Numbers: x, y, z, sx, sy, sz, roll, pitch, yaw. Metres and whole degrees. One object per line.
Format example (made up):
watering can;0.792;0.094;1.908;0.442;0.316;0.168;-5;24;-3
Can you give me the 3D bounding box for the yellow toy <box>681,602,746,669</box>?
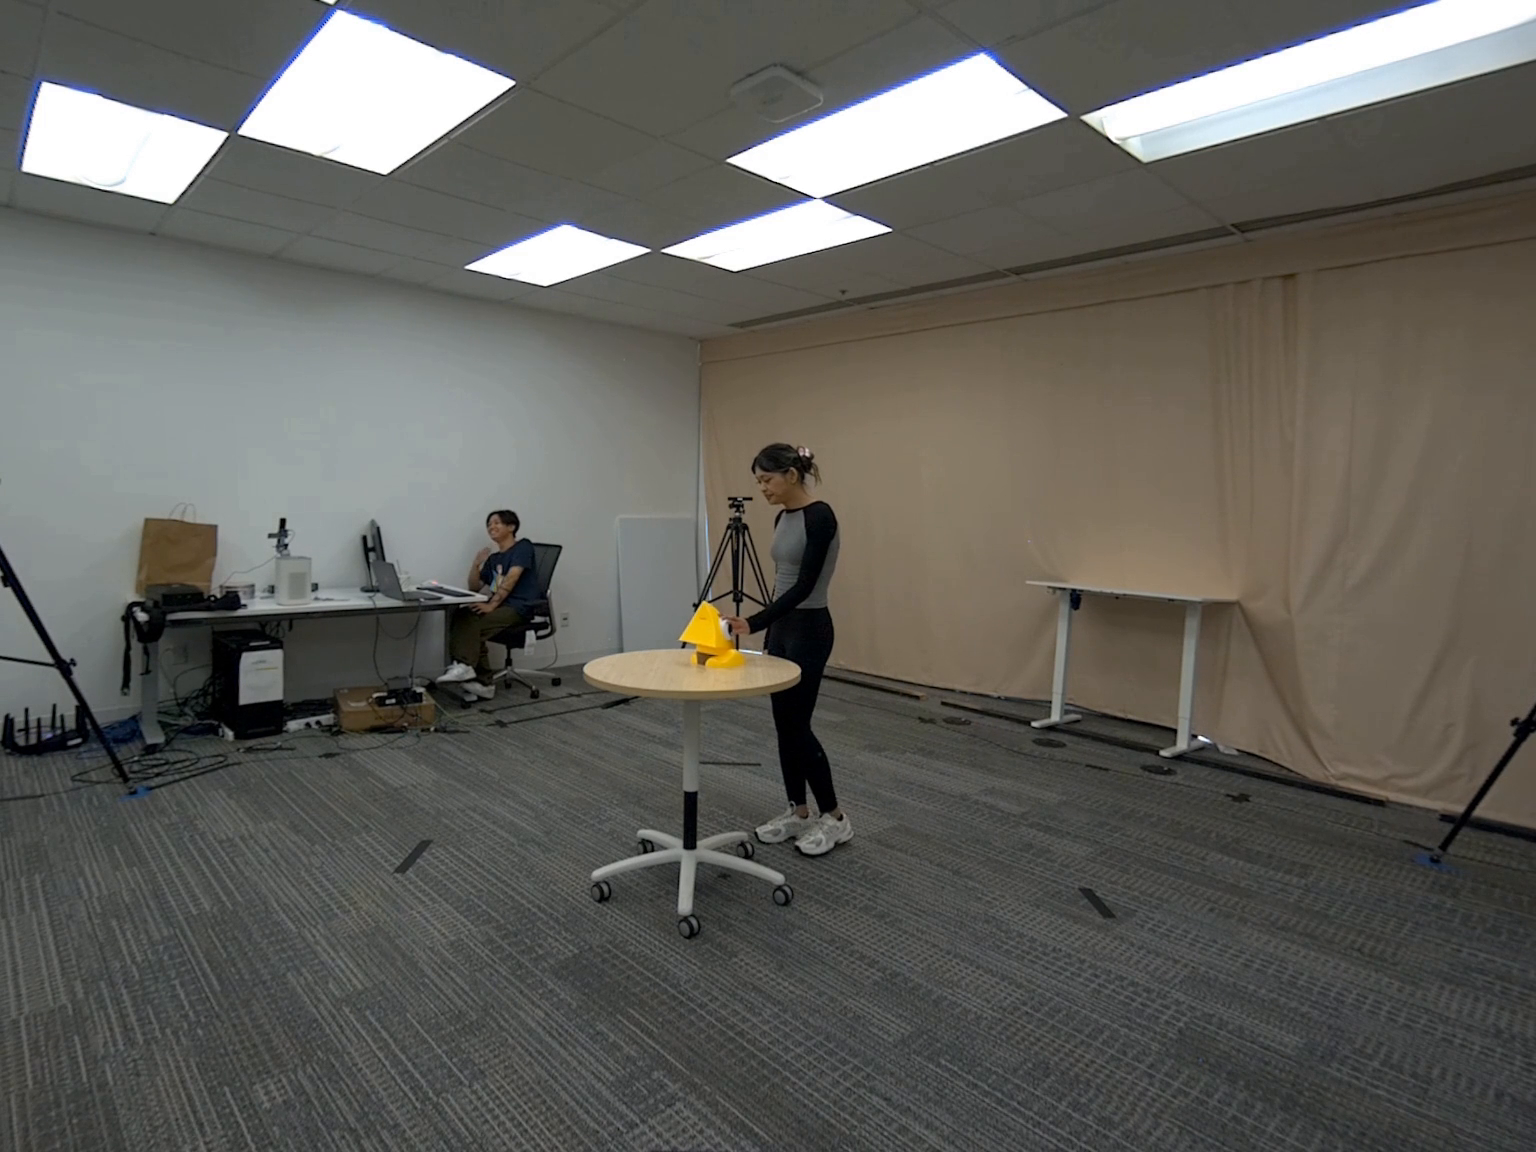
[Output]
yellow toy;-0.195;0.204;3.069;0.188;0.230;0.210;-2;4;-43
